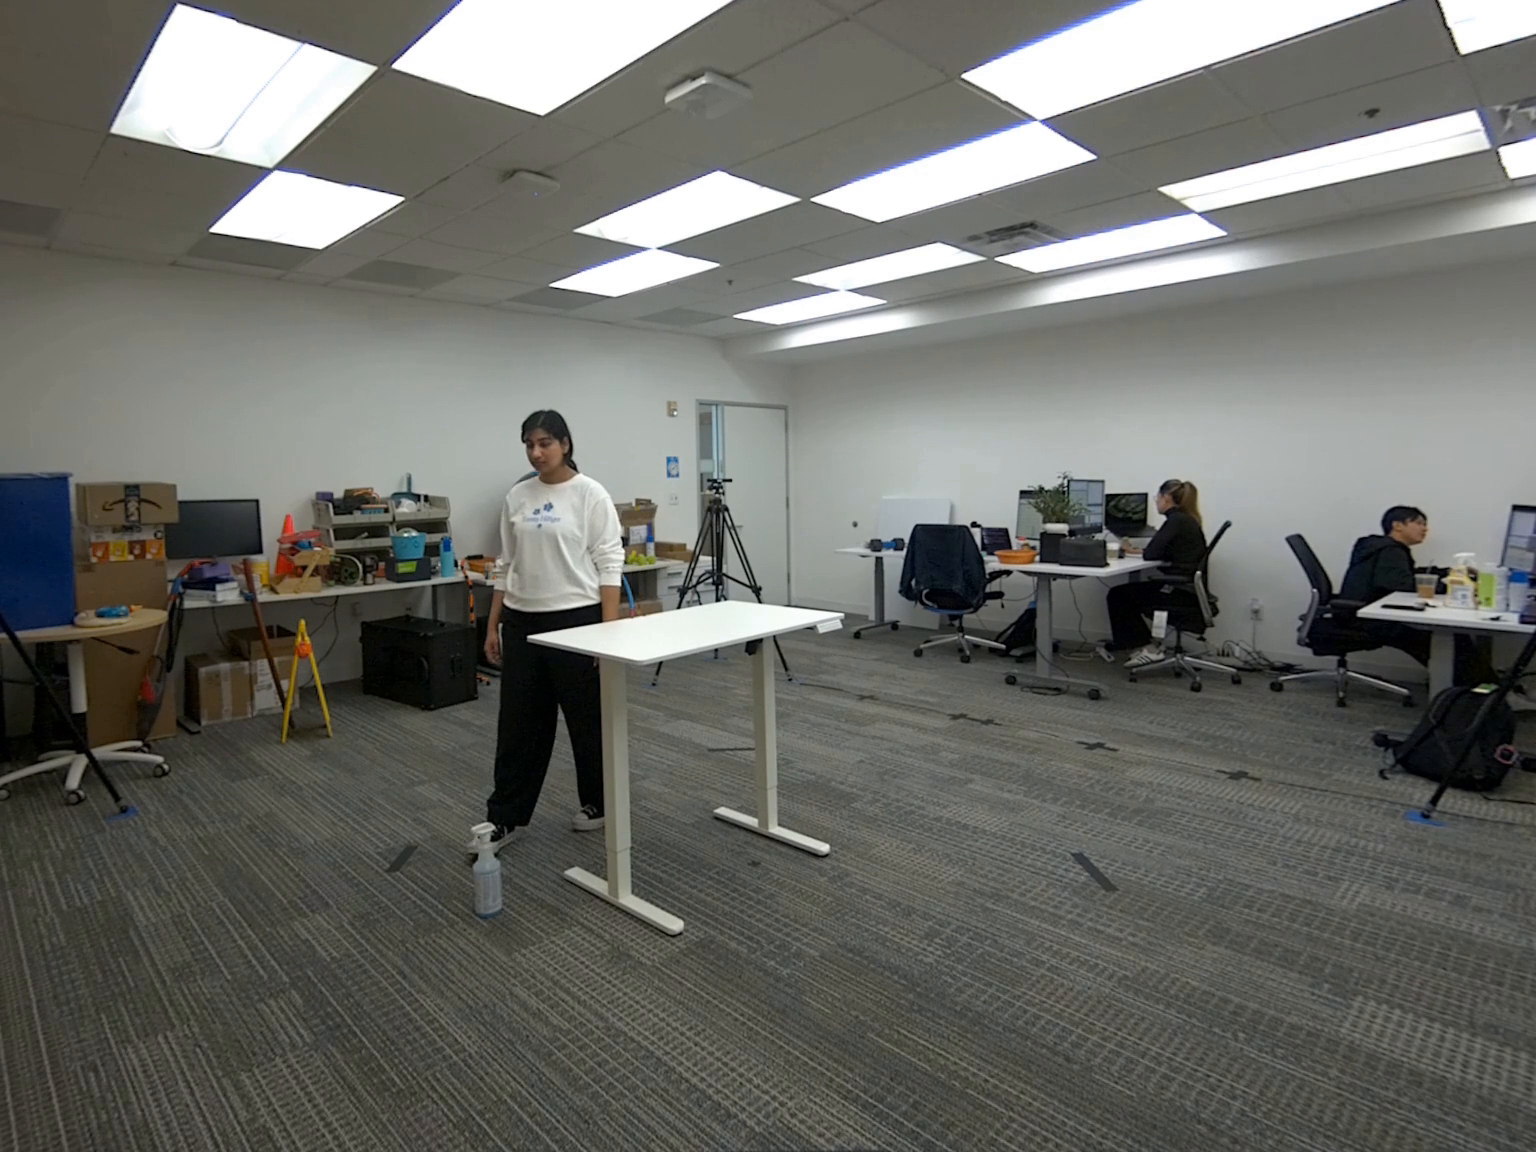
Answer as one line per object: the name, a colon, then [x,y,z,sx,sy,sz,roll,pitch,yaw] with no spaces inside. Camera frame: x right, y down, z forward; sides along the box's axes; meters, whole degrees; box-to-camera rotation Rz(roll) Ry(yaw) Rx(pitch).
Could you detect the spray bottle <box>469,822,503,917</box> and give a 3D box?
spray bottle: [-0.920,0.961,2.798,0.088,0.296,0.089,-6,6,-31]
